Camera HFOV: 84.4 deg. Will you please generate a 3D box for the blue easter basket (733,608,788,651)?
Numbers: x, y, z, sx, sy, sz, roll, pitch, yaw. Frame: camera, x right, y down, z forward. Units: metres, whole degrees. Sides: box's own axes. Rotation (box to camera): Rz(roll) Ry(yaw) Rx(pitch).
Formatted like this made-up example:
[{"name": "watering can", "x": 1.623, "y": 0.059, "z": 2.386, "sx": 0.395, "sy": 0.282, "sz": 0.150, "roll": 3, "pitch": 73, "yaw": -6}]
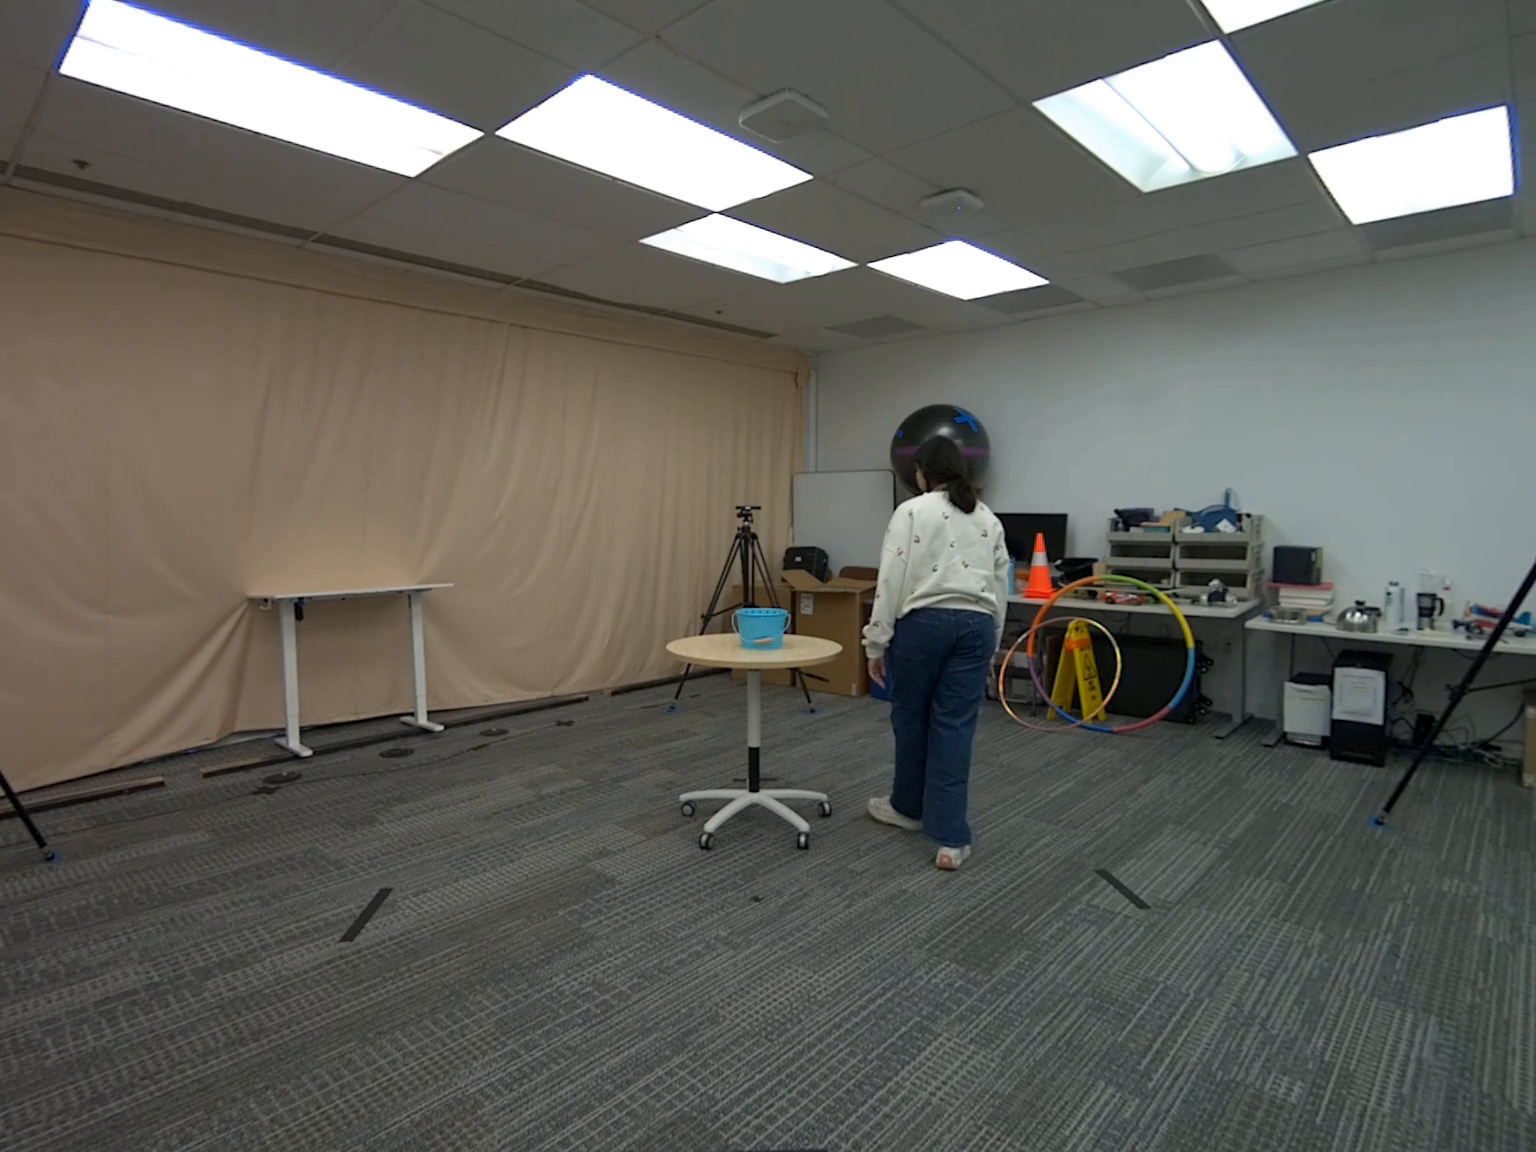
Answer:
[{"name": "blue easter basket", "x": -0.028, "y": 0.235, "z": 3.690, "sx": 0.243, "sy": 0.156, "sz": 0.244, "roll": 0, "pitch": 2, "yaw": -2}]
